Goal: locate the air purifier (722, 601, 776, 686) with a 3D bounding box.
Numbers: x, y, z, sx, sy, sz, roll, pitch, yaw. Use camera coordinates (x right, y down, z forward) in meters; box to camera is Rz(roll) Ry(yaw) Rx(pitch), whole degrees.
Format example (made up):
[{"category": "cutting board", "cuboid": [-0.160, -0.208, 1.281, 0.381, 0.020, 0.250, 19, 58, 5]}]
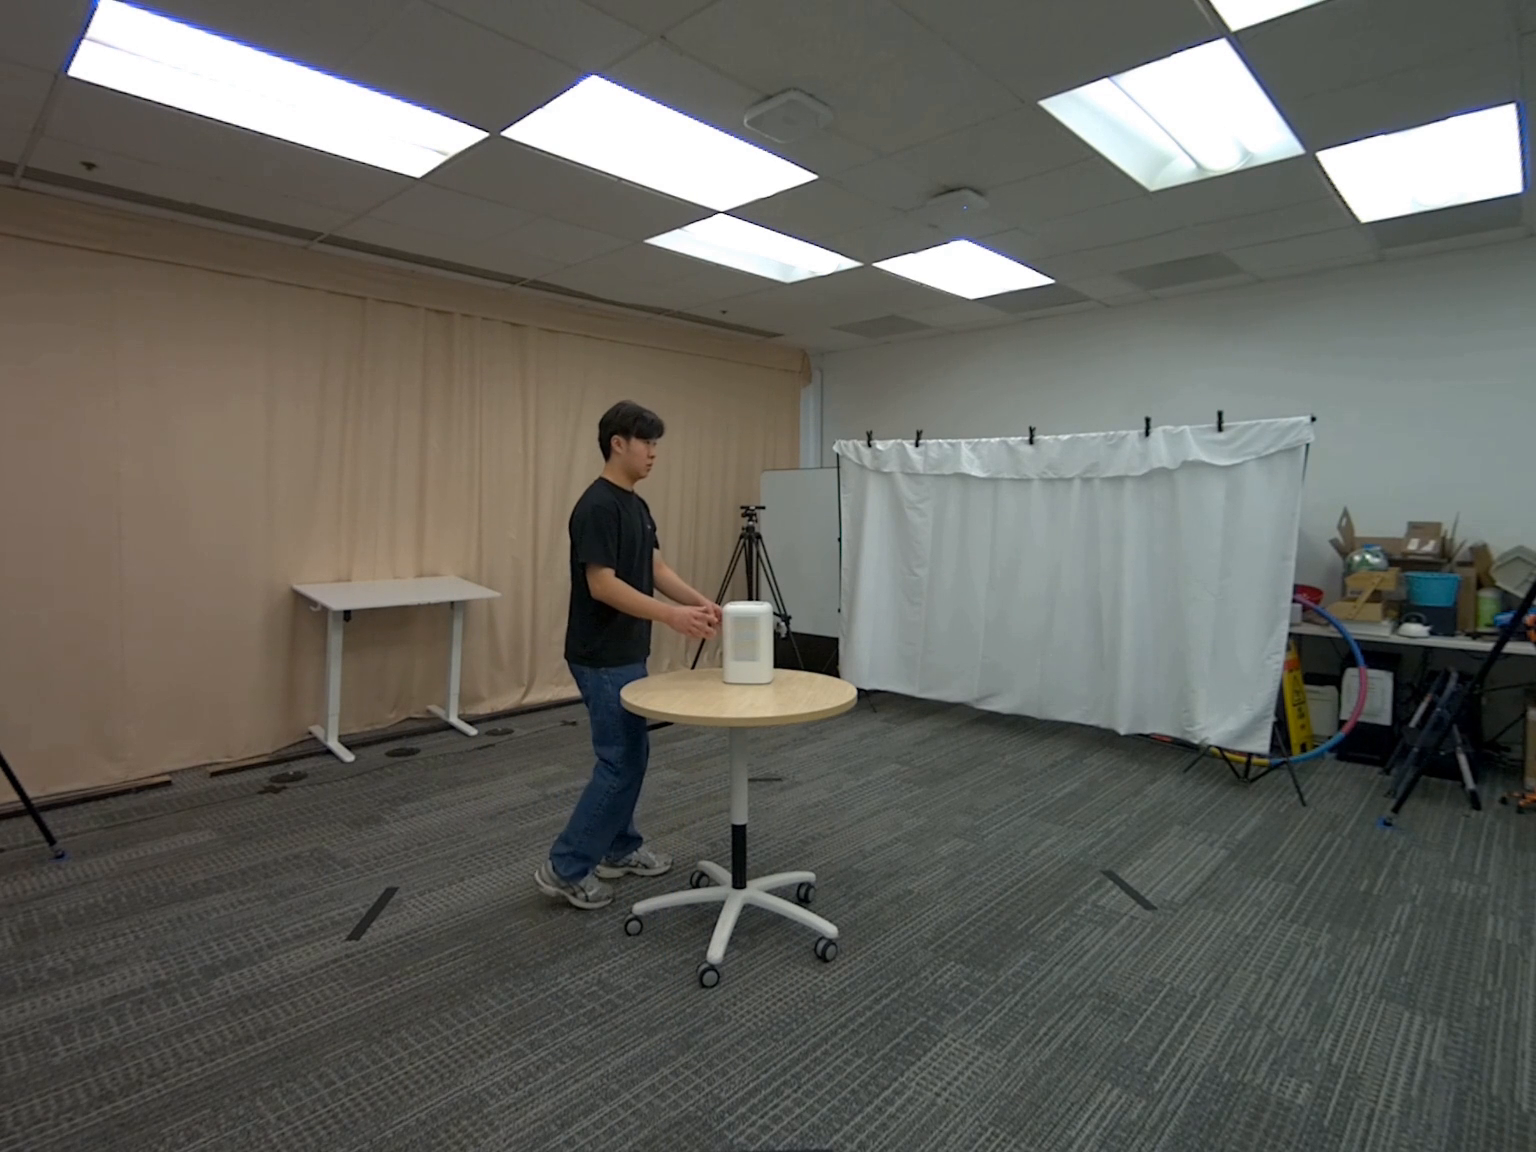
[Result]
[{"category": "air purifier", "cuboid": [-0.067, 0.226, 2.882, 0.173, 0.265, 0.170, 0, 3, 5]}]
